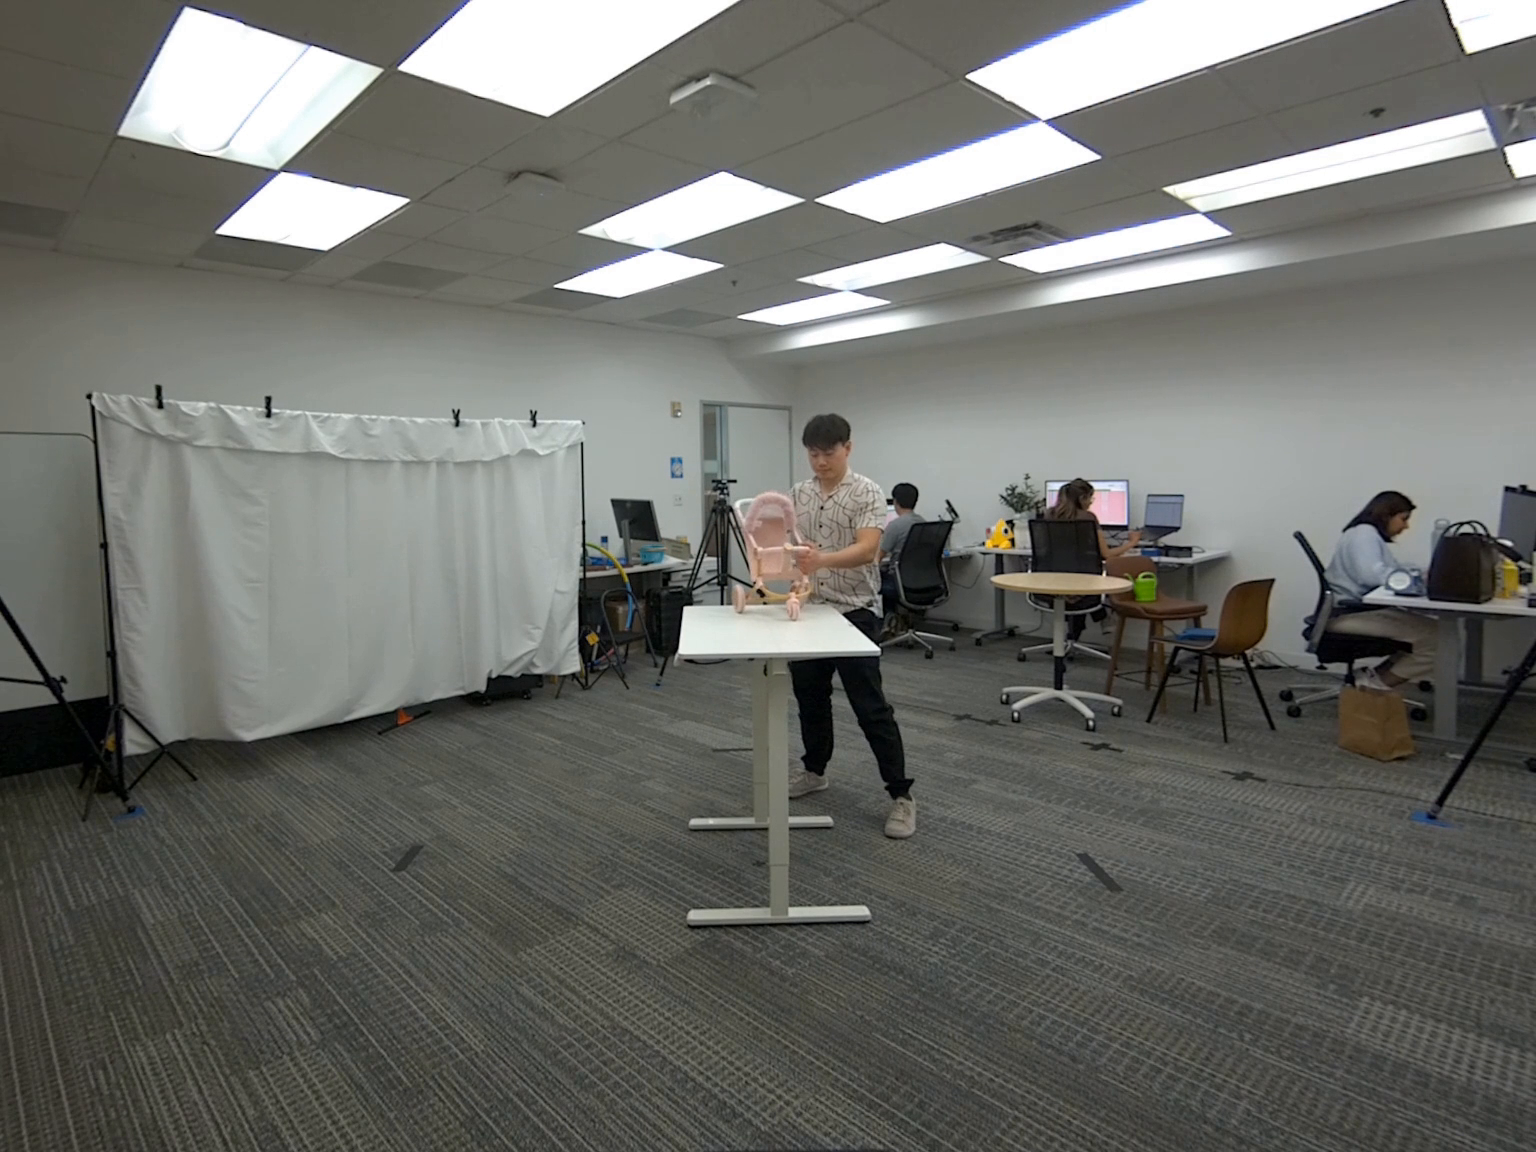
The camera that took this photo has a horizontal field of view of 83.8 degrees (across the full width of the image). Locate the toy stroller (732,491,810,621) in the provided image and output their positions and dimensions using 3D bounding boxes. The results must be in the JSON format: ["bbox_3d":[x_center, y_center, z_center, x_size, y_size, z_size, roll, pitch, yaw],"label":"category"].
[{"bbox_3d":[0.023,-0.079,3.280,0.278,0.540,0.342,-3,-10,-15],"label":"toy stroller"}]
